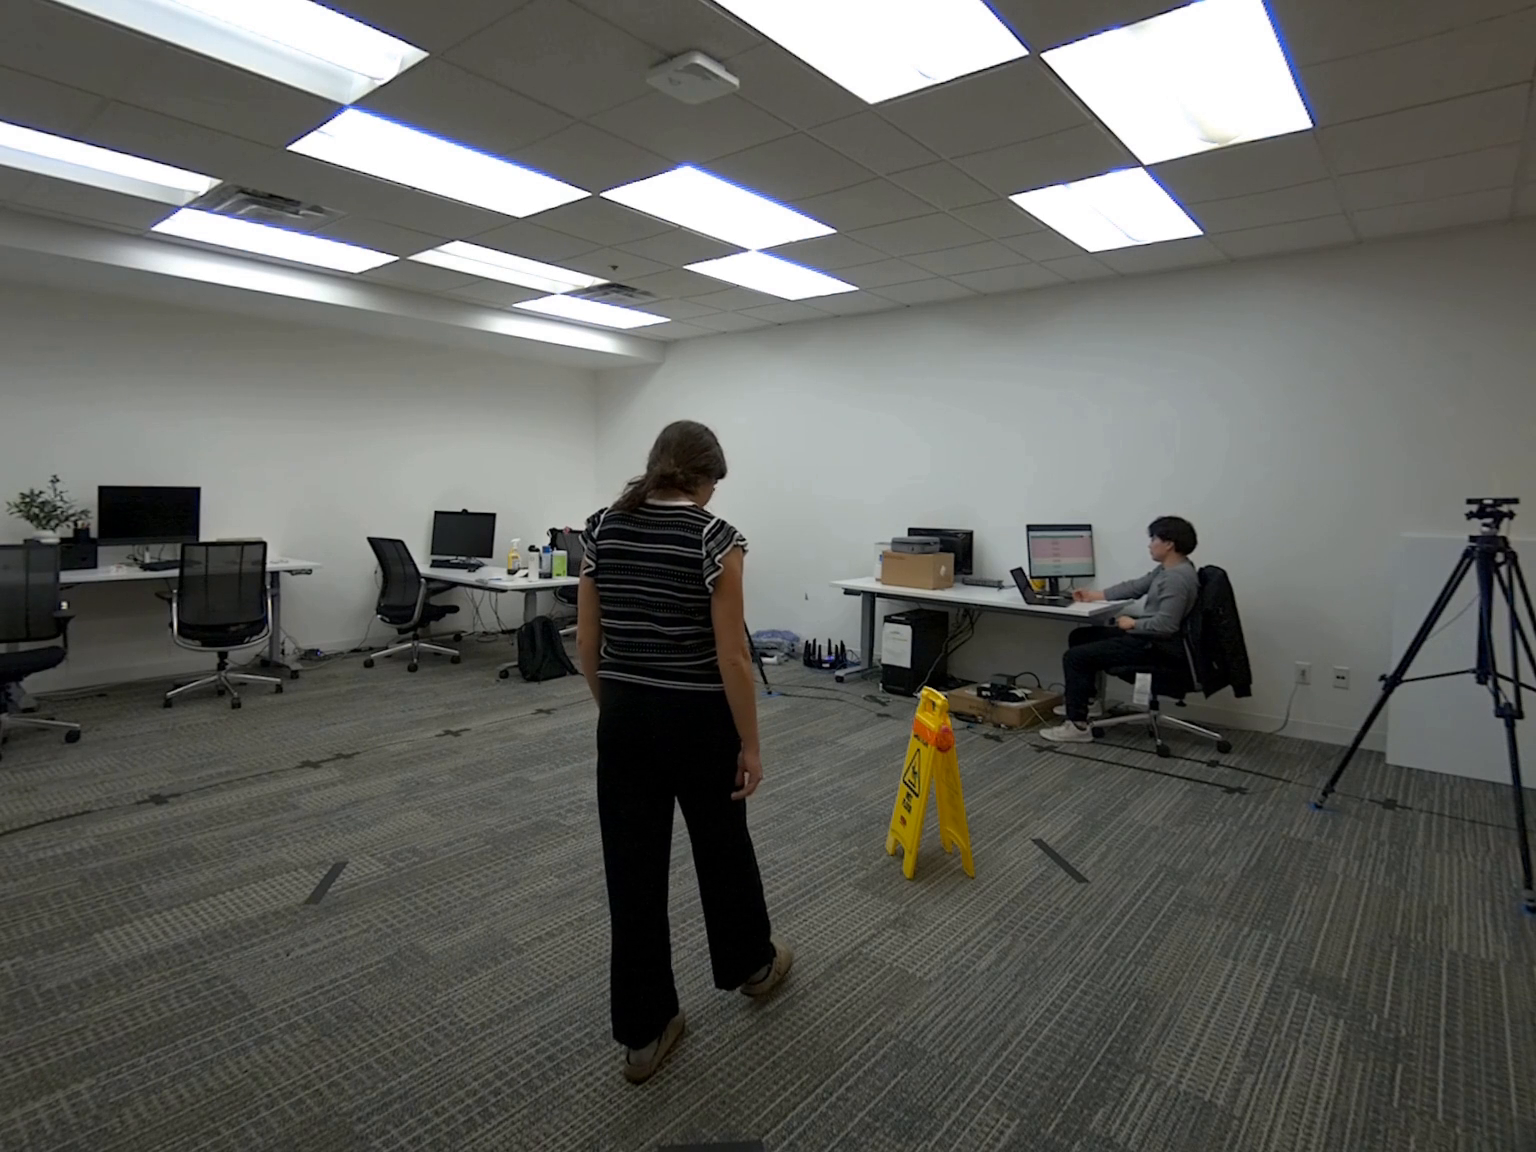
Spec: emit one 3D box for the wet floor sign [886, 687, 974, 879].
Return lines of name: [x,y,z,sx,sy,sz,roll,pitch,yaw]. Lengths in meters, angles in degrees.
wet floor sign: [0.612,0.751,3.188,0.287,0.643,0.286,1,4,-9]
